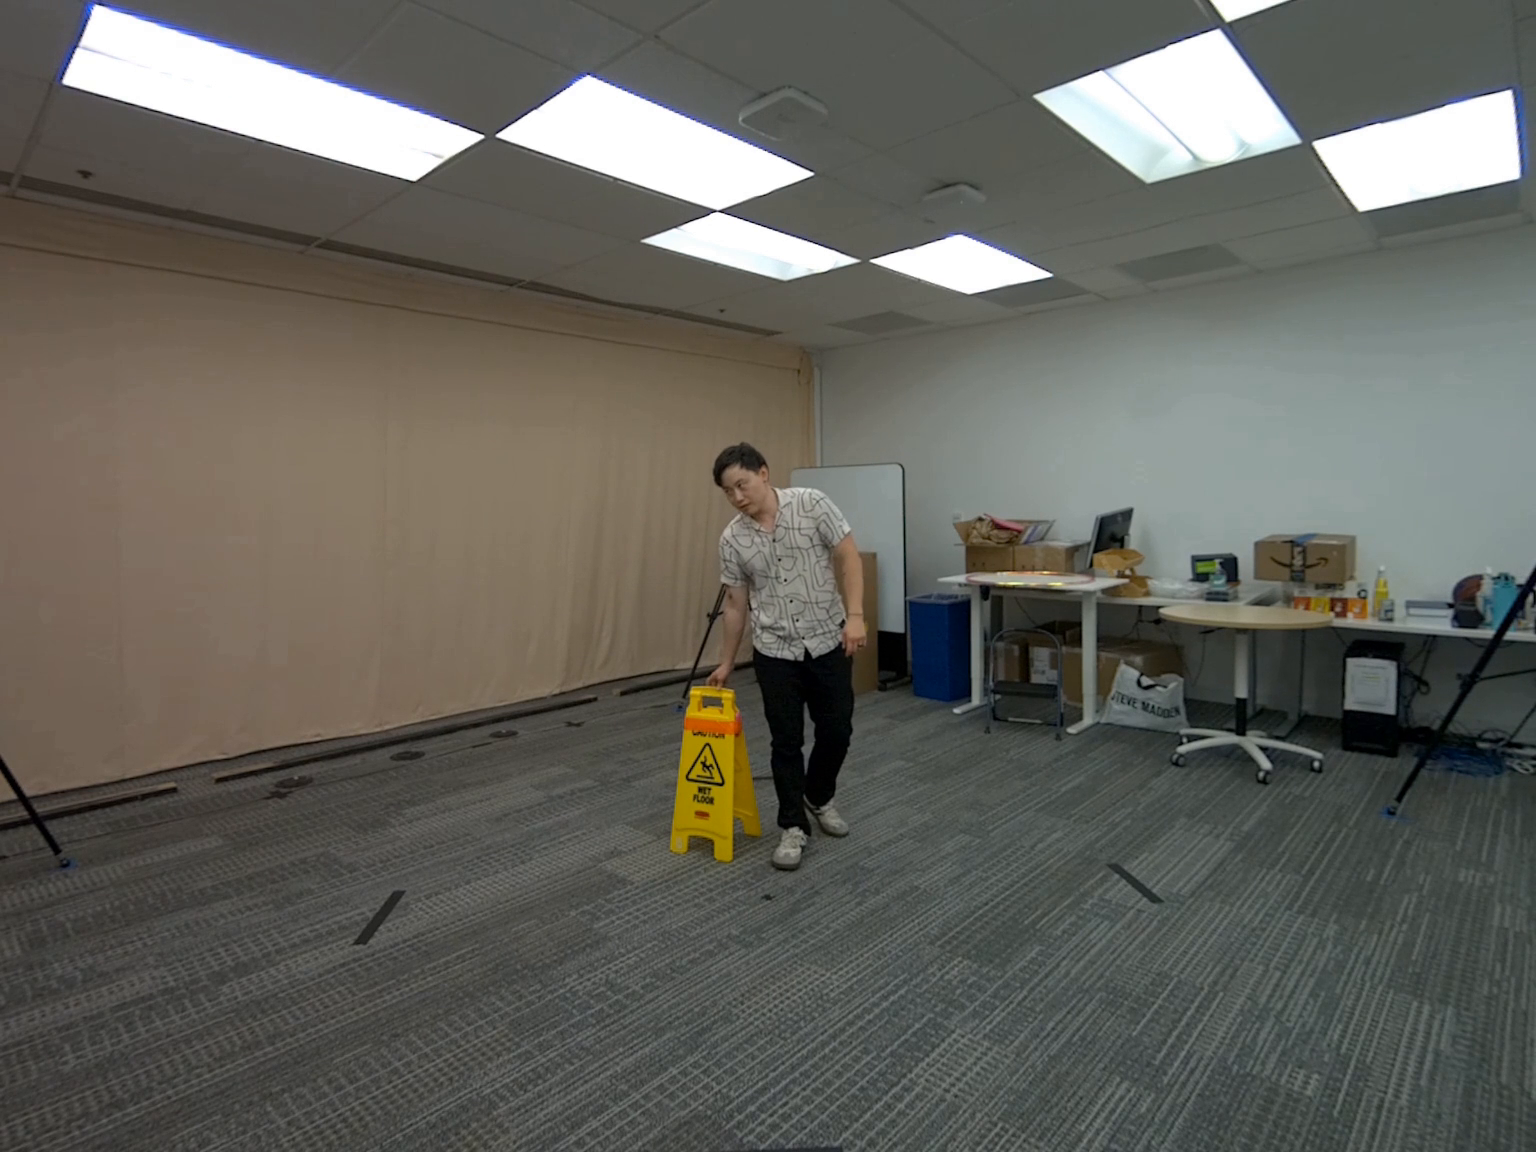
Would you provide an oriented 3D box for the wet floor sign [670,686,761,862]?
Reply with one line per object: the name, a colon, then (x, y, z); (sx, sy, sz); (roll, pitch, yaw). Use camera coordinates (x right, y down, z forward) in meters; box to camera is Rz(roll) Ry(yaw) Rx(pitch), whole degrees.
wet floor sign: (-0.217, 0.781, 3.456); (0.289, 0.645, 0.283); (0, 4, 25)
